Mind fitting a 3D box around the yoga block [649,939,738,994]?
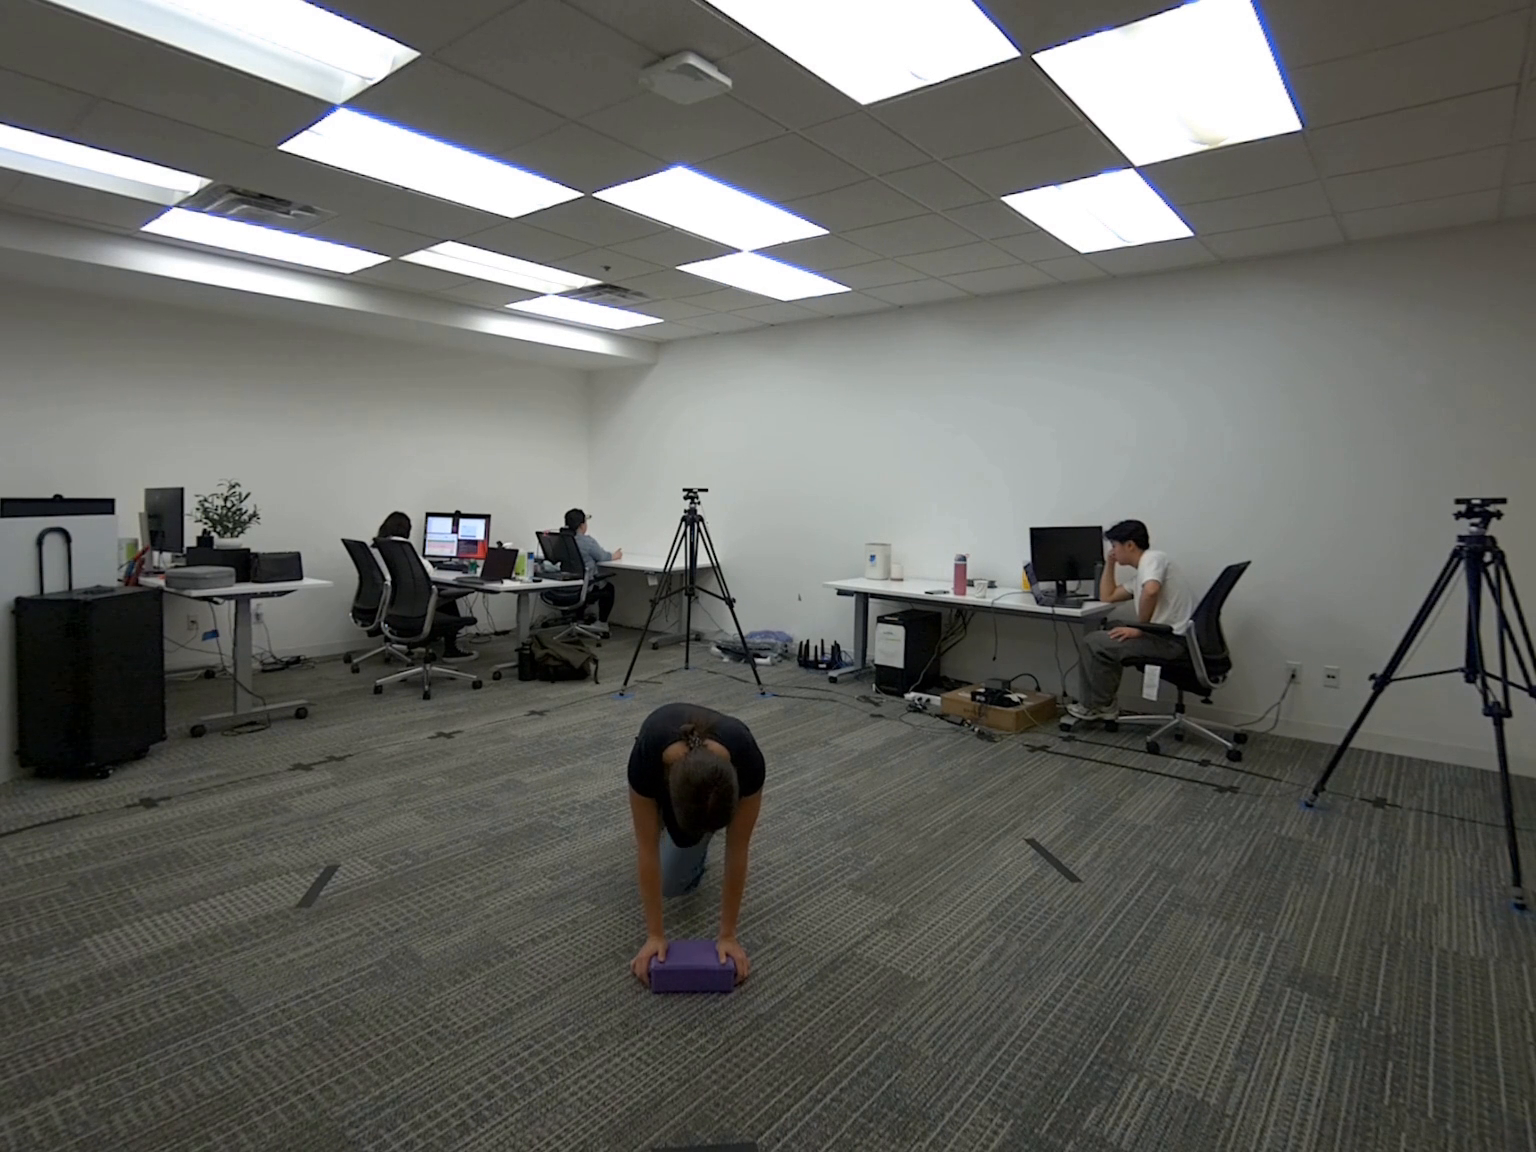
[{"bbox_3d":[-0.216,1.098,2.408,0.228,0.076,0.150,2,3,-5],"label":"yoga block"}]
